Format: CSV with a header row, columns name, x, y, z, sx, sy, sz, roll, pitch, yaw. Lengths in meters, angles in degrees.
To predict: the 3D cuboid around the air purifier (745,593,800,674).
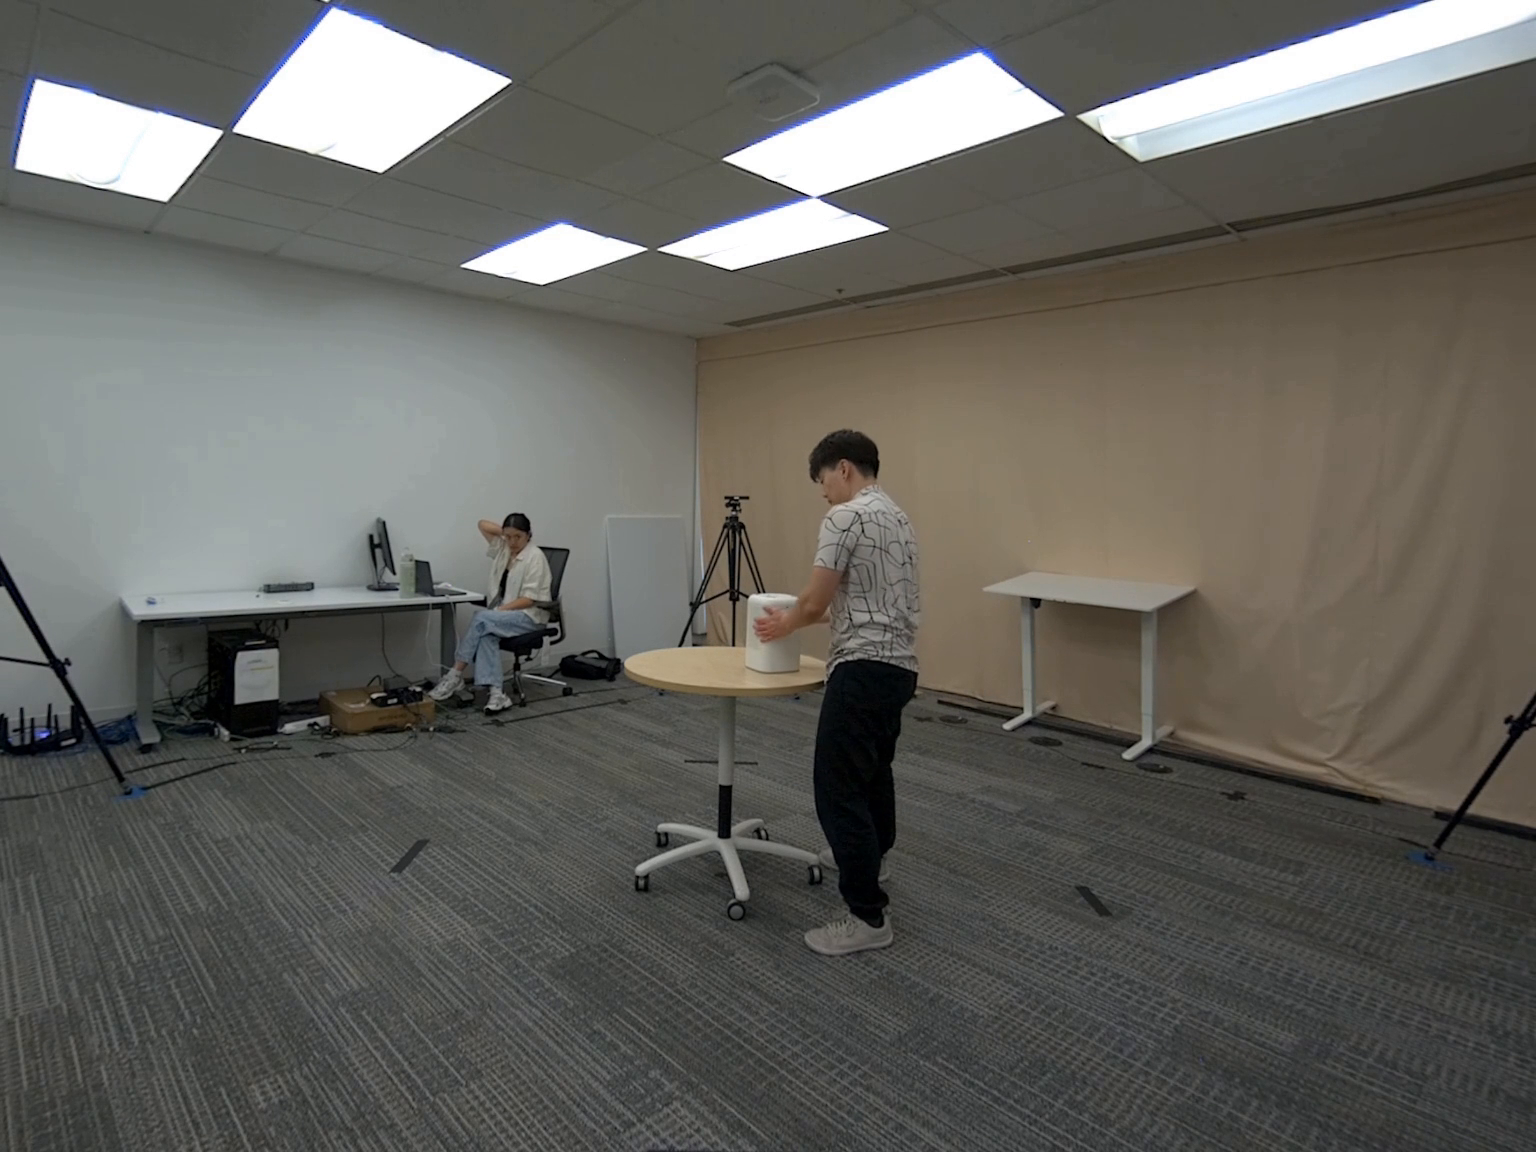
name,x,y,z,sx,sy,sz,roll,pitch,yaw
air purifier,0.016,0.201,3.031,0.168,0.265,0.175,2,3,-28
